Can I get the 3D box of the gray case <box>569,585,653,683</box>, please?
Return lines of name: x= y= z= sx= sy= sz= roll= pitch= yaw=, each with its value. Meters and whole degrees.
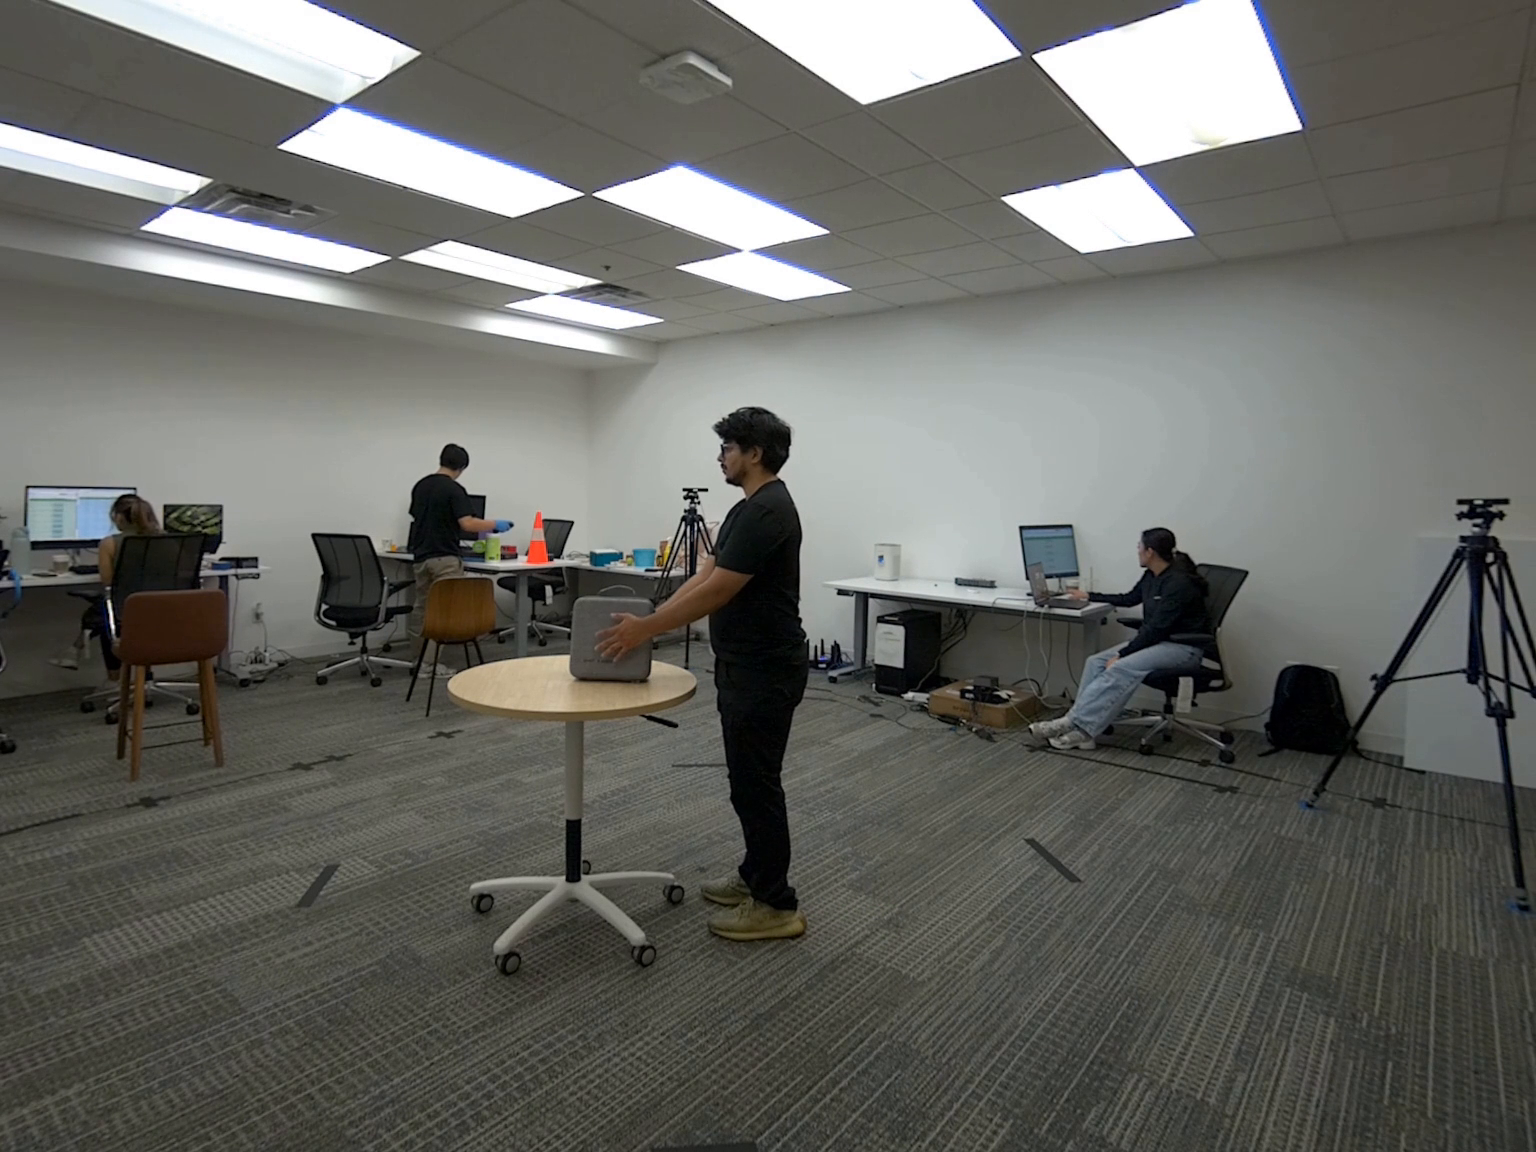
gray case: x=-0.505 y=0.194 z=2.692 sx=0.257 sy=0.262 sz=0.103 roll=2 pitch=-7 yaw=2
